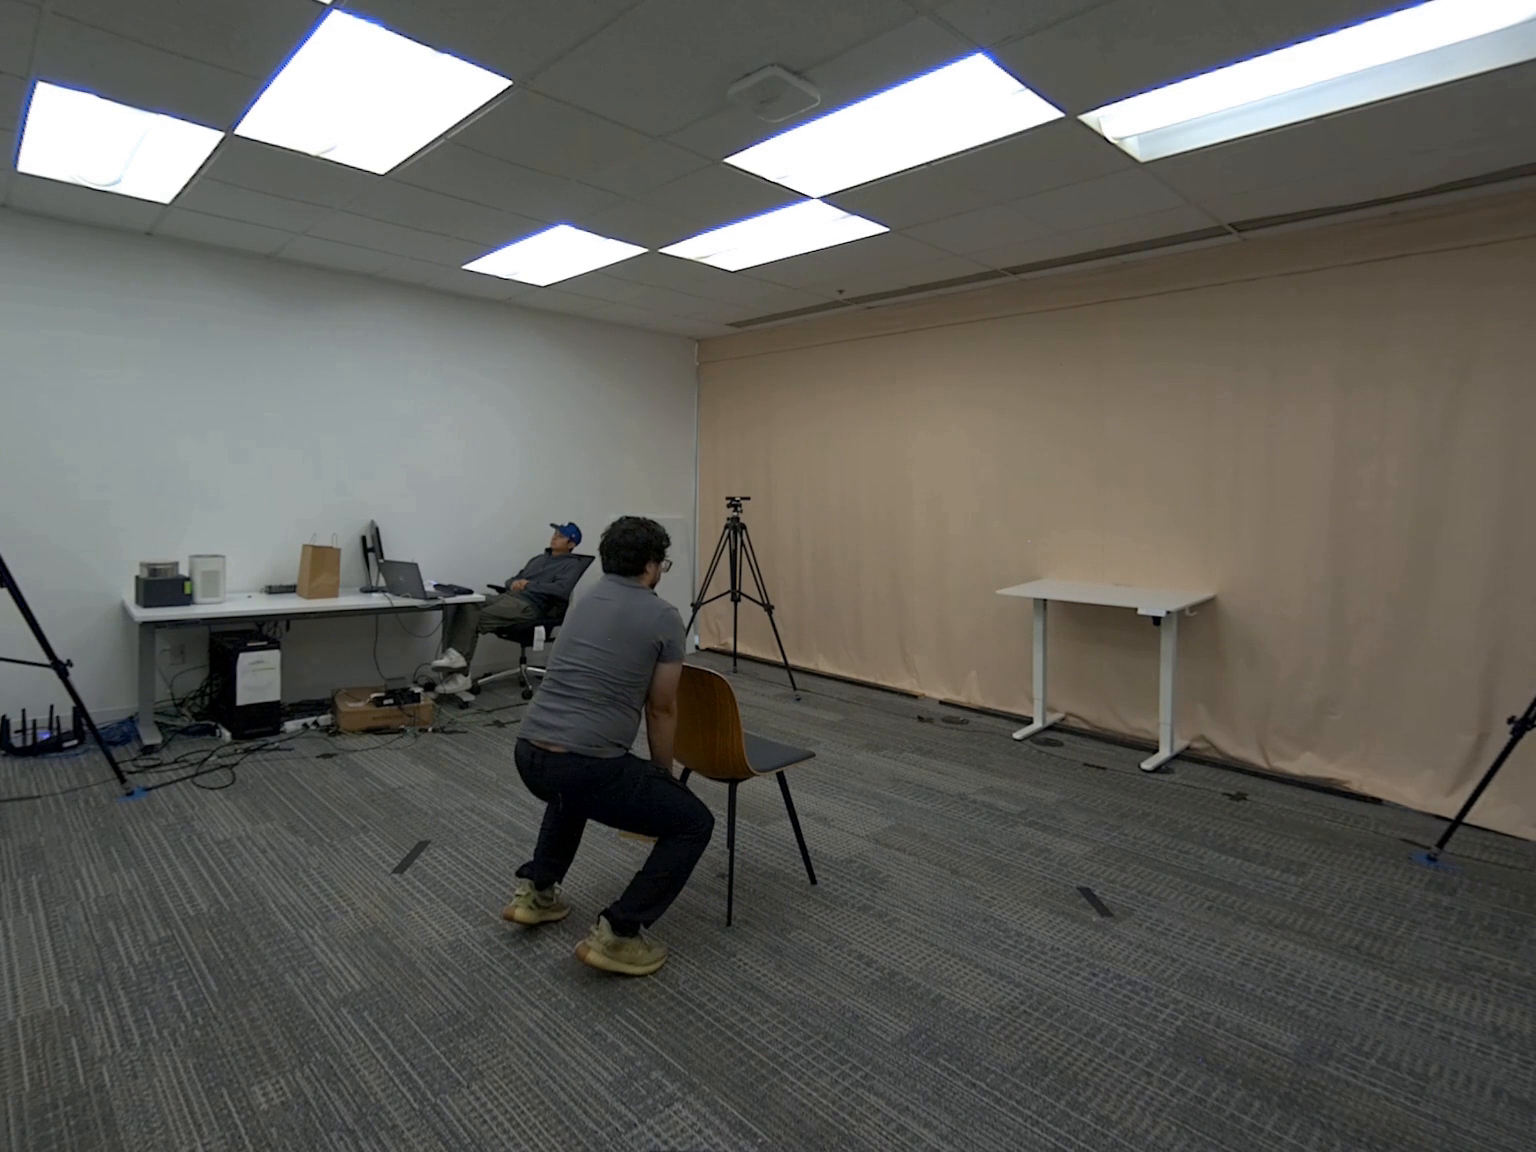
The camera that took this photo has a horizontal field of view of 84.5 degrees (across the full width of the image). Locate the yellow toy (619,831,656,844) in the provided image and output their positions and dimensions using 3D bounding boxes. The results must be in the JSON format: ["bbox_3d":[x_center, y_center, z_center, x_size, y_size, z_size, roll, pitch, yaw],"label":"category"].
[{"bbox_3d":[-0.378,0.764,2.802,0.197,0.233,0.199,-10,-21,42],"label":"yellow toy"}]
